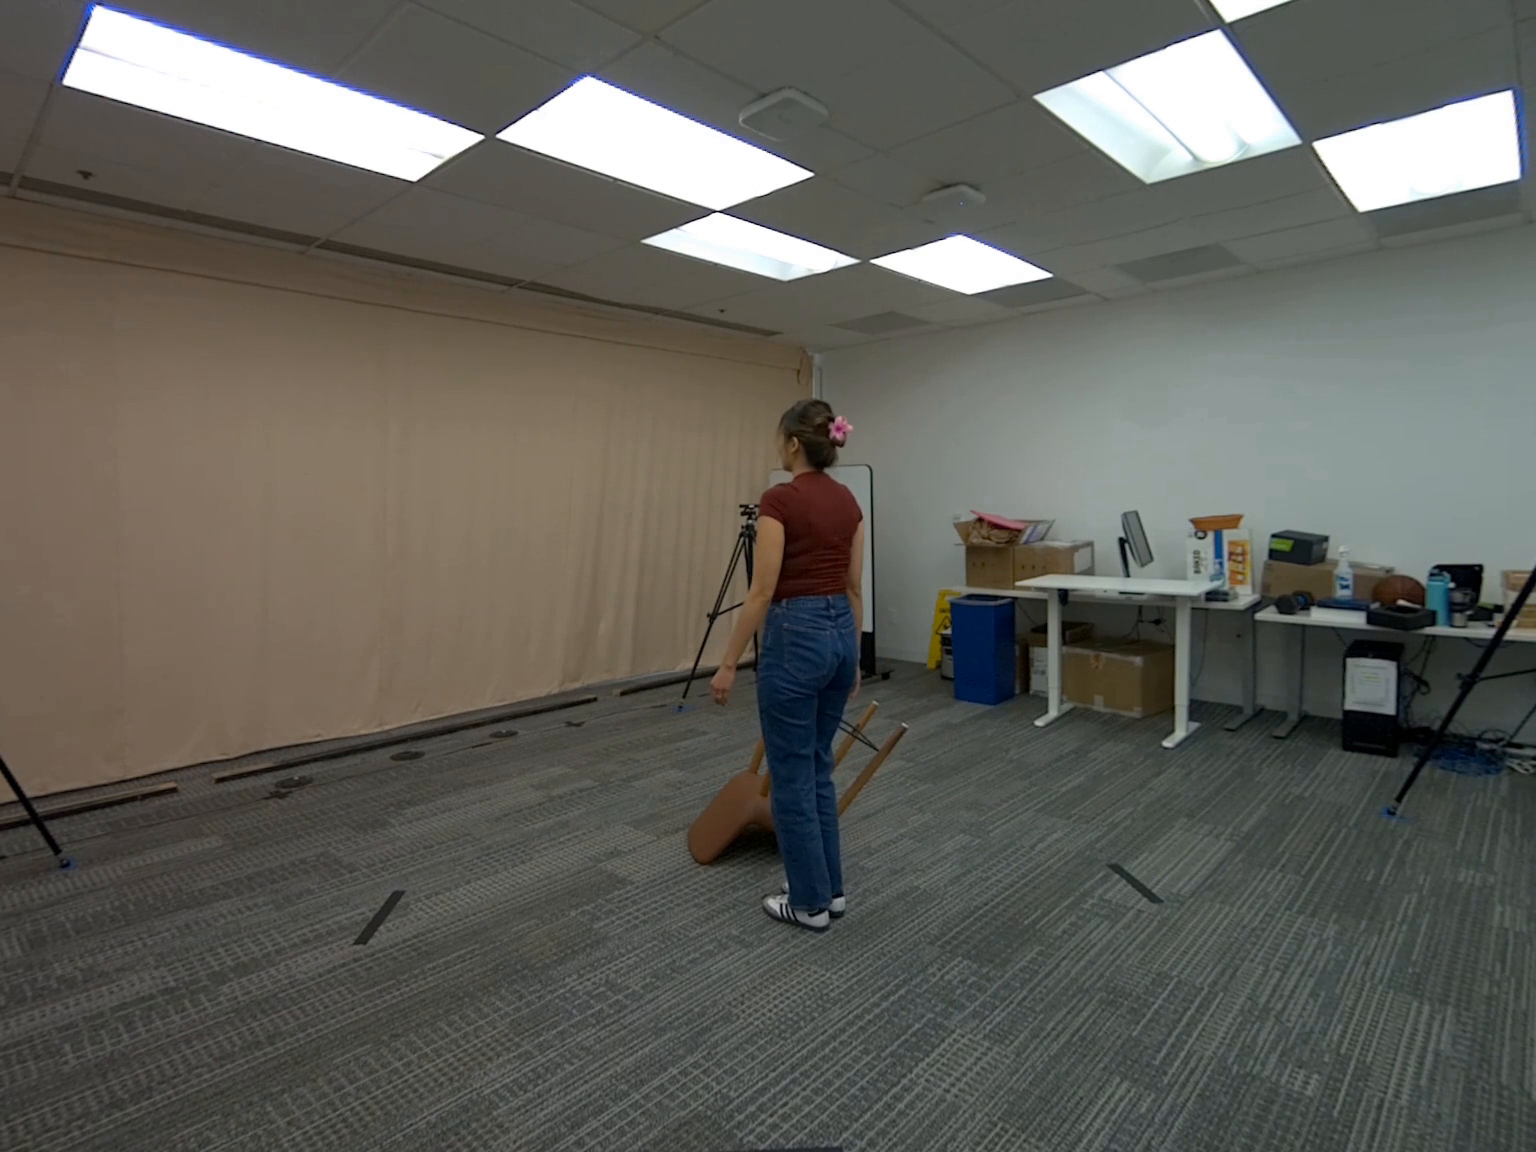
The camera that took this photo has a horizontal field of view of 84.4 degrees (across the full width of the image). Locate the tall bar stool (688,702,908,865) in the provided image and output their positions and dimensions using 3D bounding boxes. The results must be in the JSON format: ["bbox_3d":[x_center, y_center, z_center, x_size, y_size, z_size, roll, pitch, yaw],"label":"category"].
[{"bbox_3d":[0.101,0.840,3.474,0.463,0.889,0.461,33,-2,-9],"label":"tall bar stool"}]
